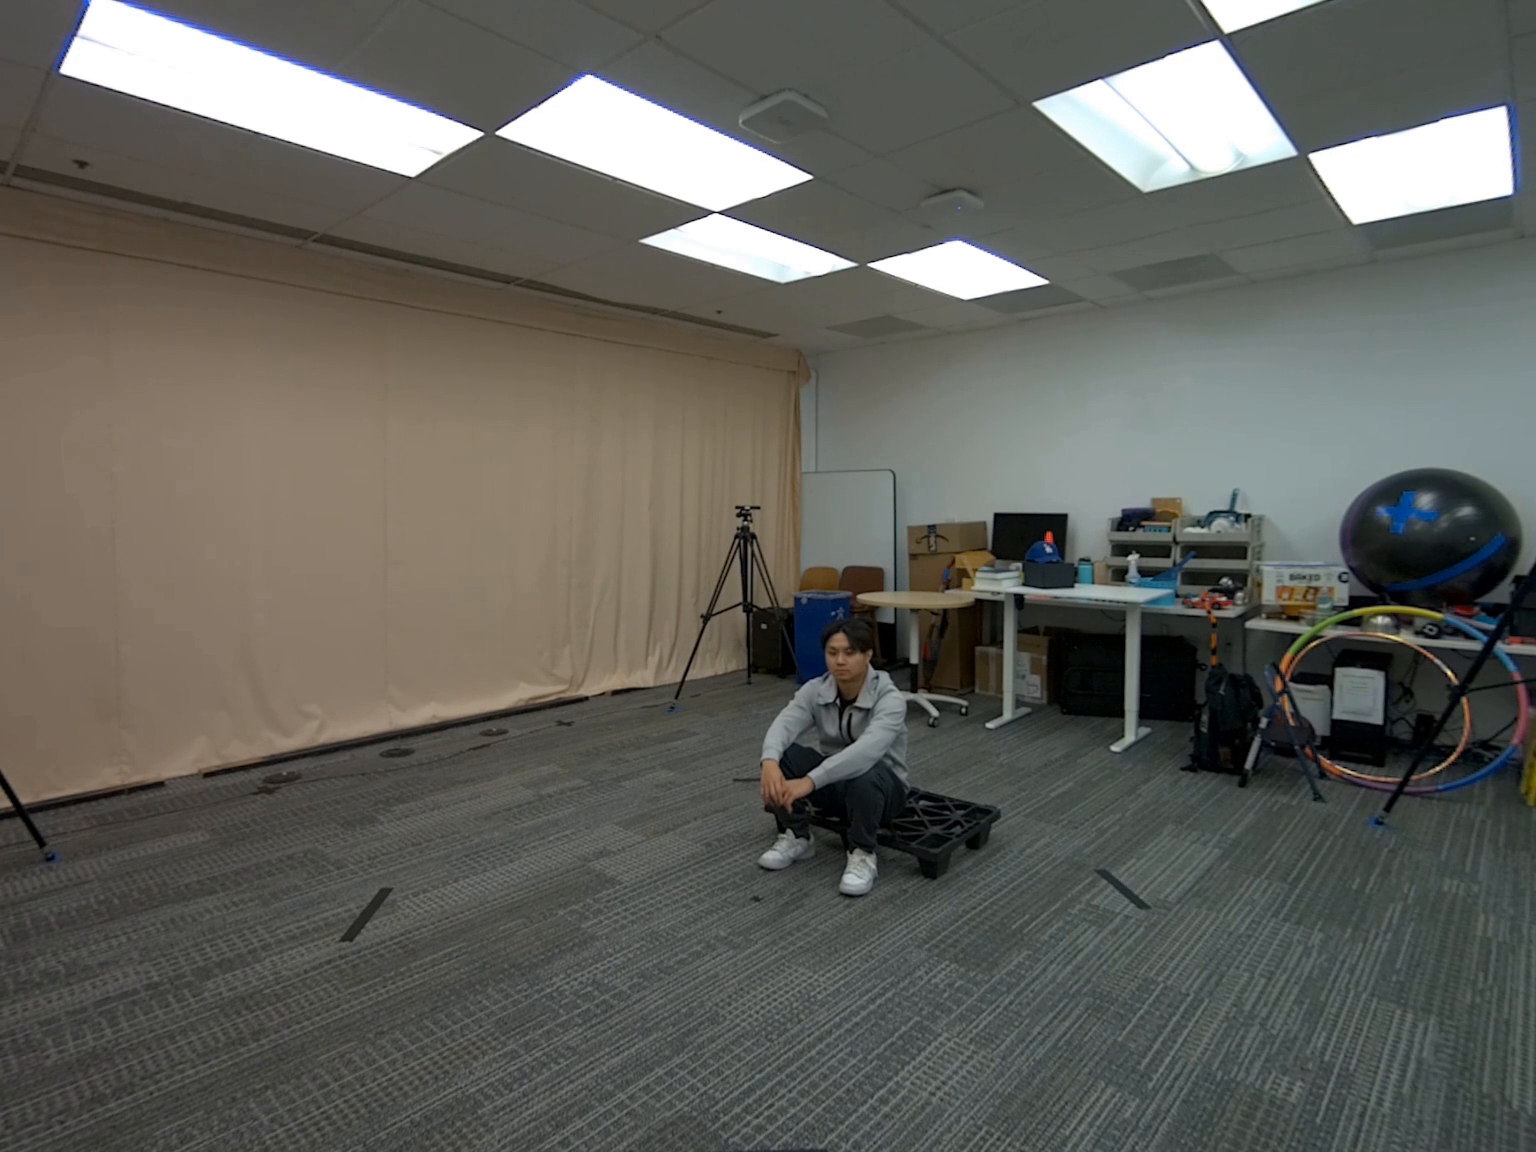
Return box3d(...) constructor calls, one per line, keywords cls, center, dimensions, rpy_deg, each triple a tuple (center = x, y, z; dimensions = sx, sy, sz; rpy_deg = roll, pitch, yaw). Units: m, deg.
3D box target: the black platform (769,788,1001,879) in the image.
box3d(cls="black platform", center=(0.479, 1.032, 3.536), dimensions=(0.832, 0.143, 0.587), rpy_deg=(4, 6, 39))
